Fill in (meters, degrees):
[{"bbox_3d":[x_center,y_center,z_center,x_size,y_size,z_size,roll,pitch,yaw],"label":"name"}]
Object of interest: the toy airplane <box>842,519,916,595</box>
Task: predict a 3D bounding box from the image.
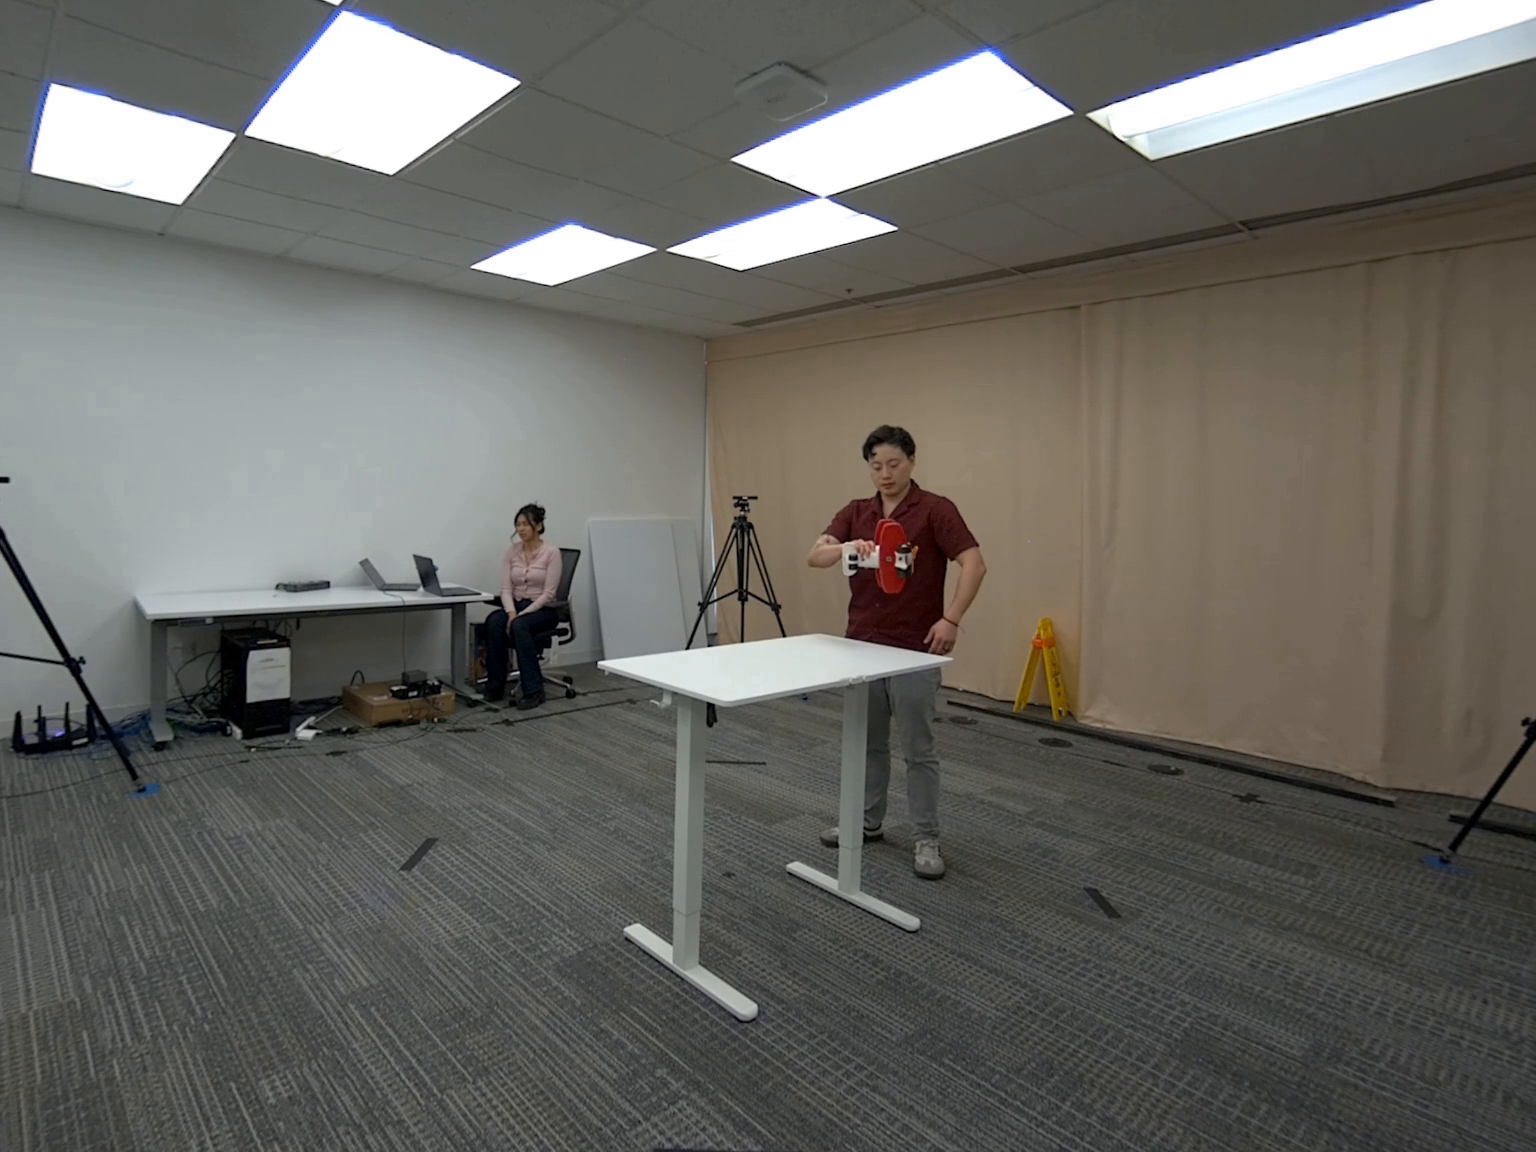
[{"bbox_3d":[0.375,-0.085,3.003,0.260,0.250,0.156,27,15,3],"label":"toy airplane"}]
